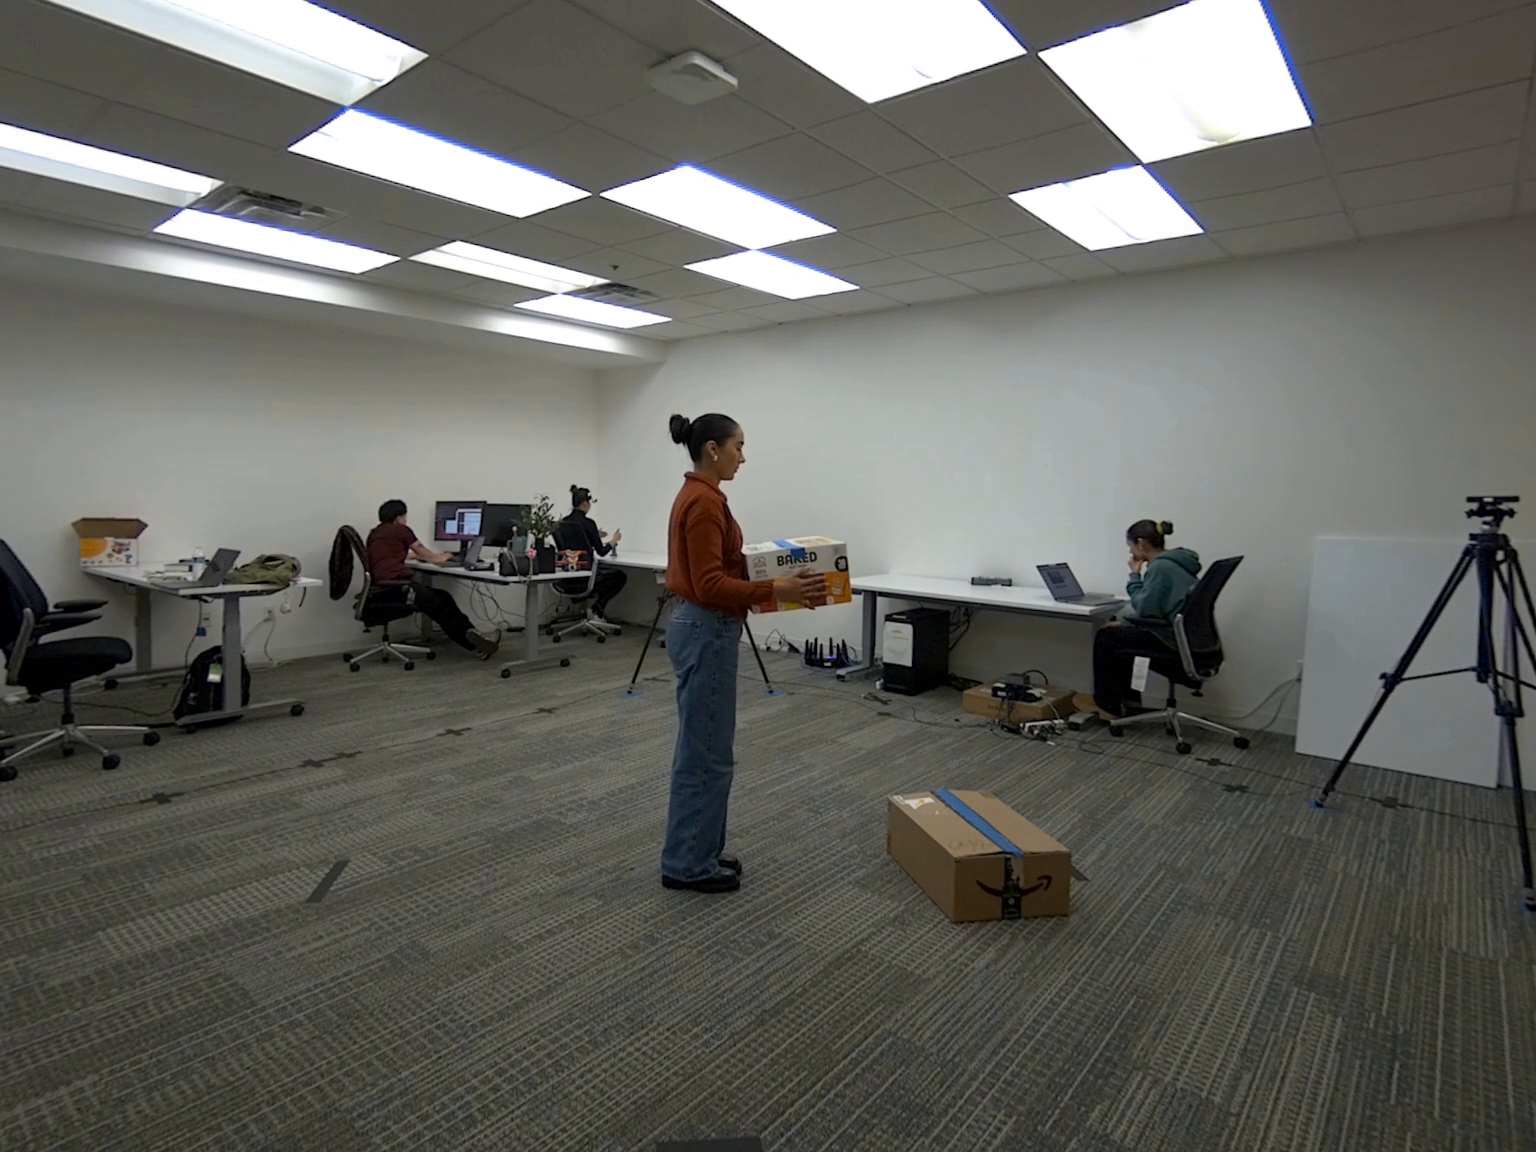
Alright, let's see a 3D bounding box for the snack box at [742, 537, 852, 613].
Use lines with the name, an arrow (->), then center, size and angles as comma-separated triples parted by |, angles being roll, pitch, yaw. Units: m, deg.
snack box -> 0.061, -0.011, 3.006 | 0.338, 0.204, 0.410 | -7, 6, -7
